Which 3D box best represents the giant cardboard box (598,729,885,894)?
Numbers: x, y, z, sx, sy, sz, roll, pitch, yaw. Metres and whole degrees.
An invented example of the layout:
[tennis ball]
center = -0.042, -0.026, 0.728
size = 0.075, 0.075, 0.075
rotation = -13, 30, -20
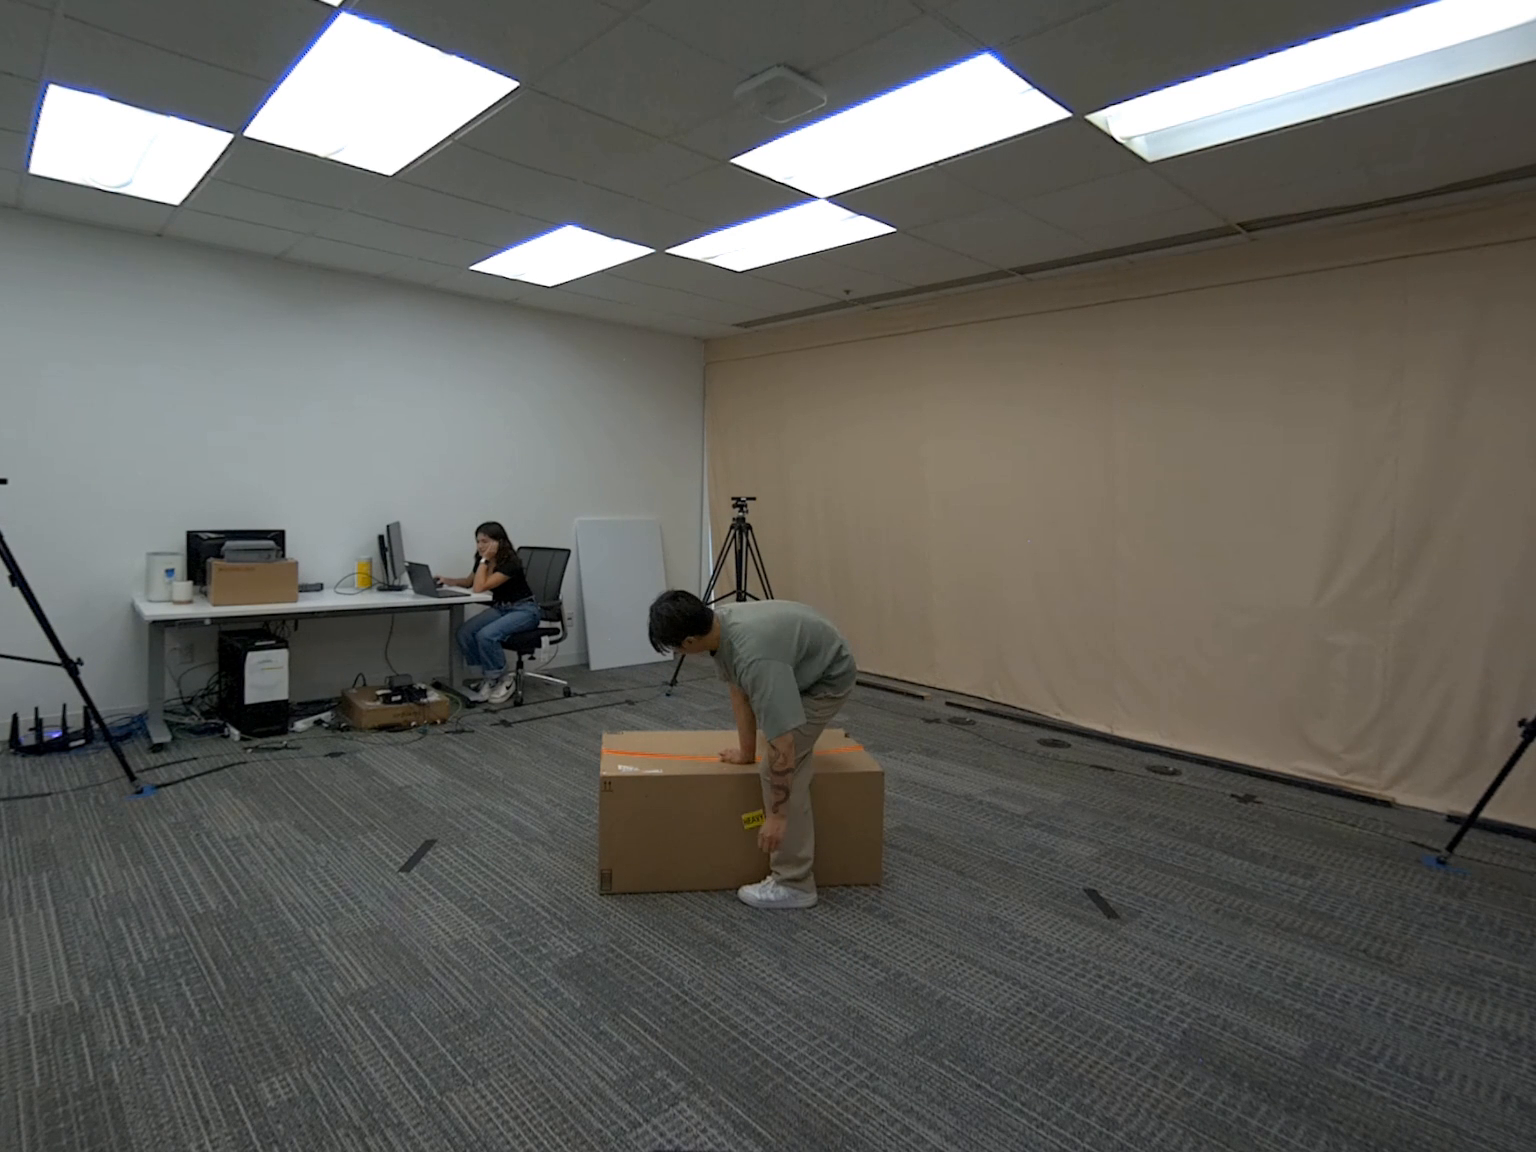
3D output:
[giant cardboard box]
center = -0.142, 0.885, 3.267
size = 1.019, 0.425, 0.583
rotation = 1, 5, -8
